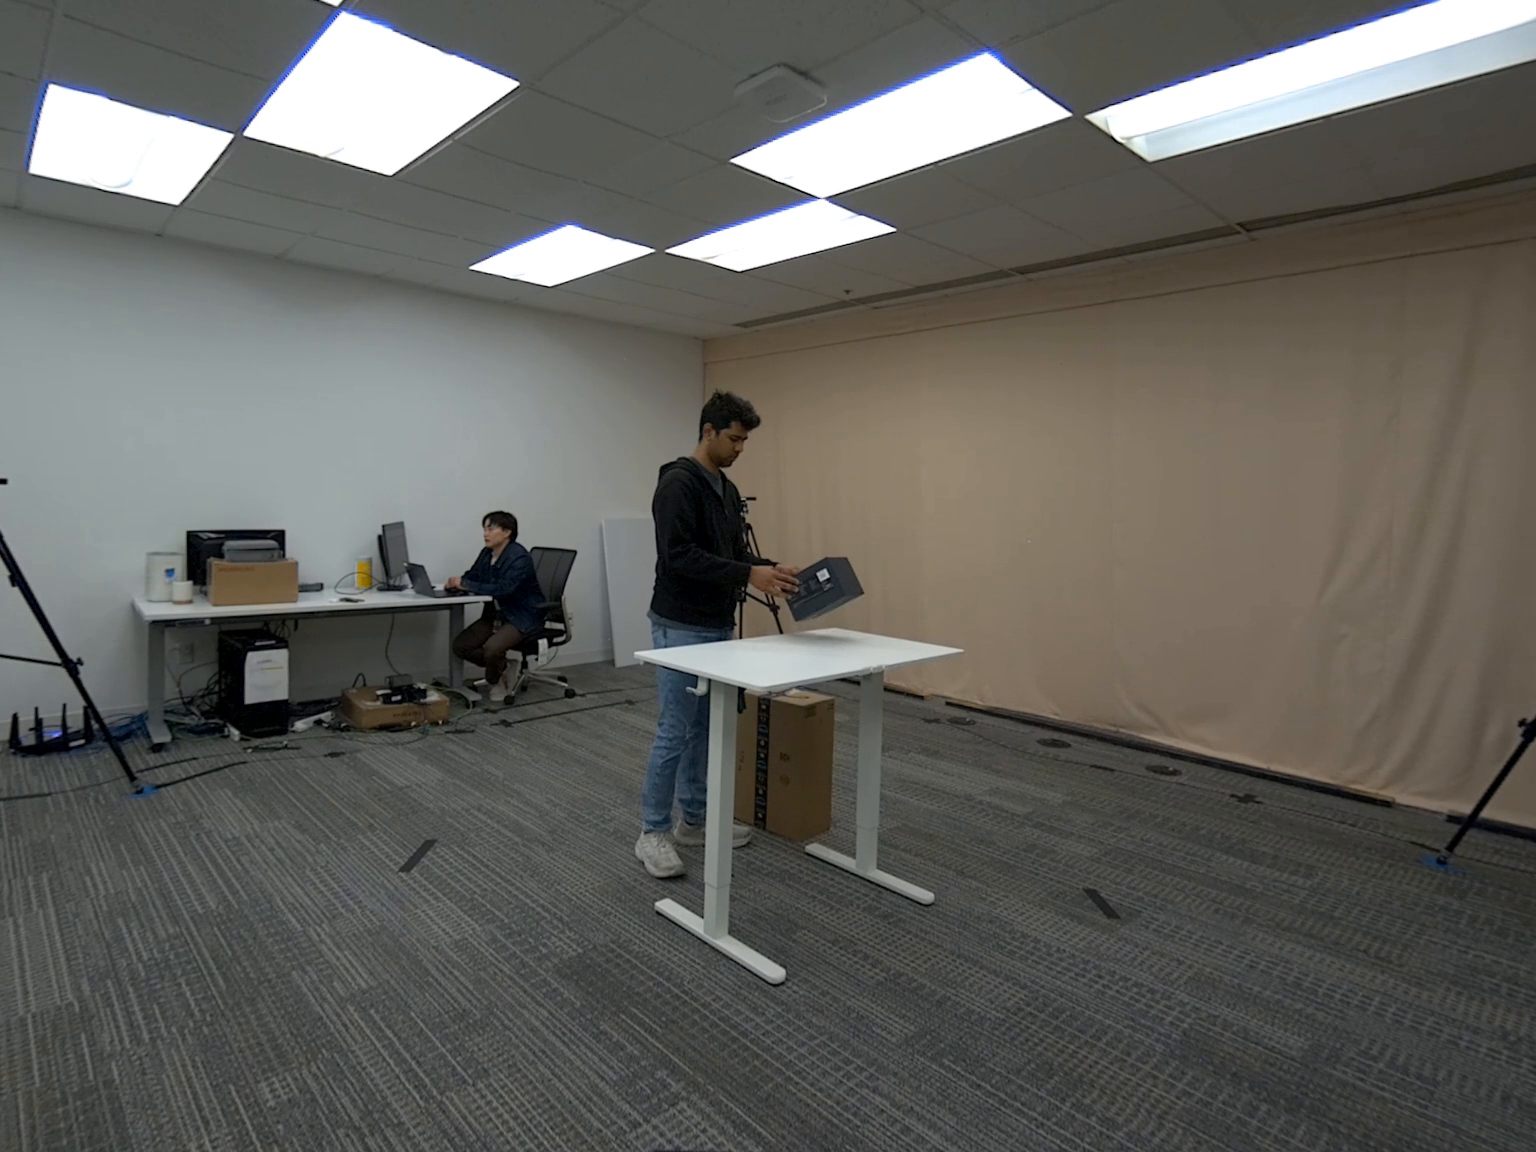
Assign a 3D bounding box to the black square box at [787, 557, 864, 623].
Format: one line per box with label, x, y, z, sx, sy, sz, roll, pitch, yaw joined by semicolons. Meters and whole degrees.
black square box;0.186;0.046;3.116;0.218;0.158;0.224;-29;-11;22
